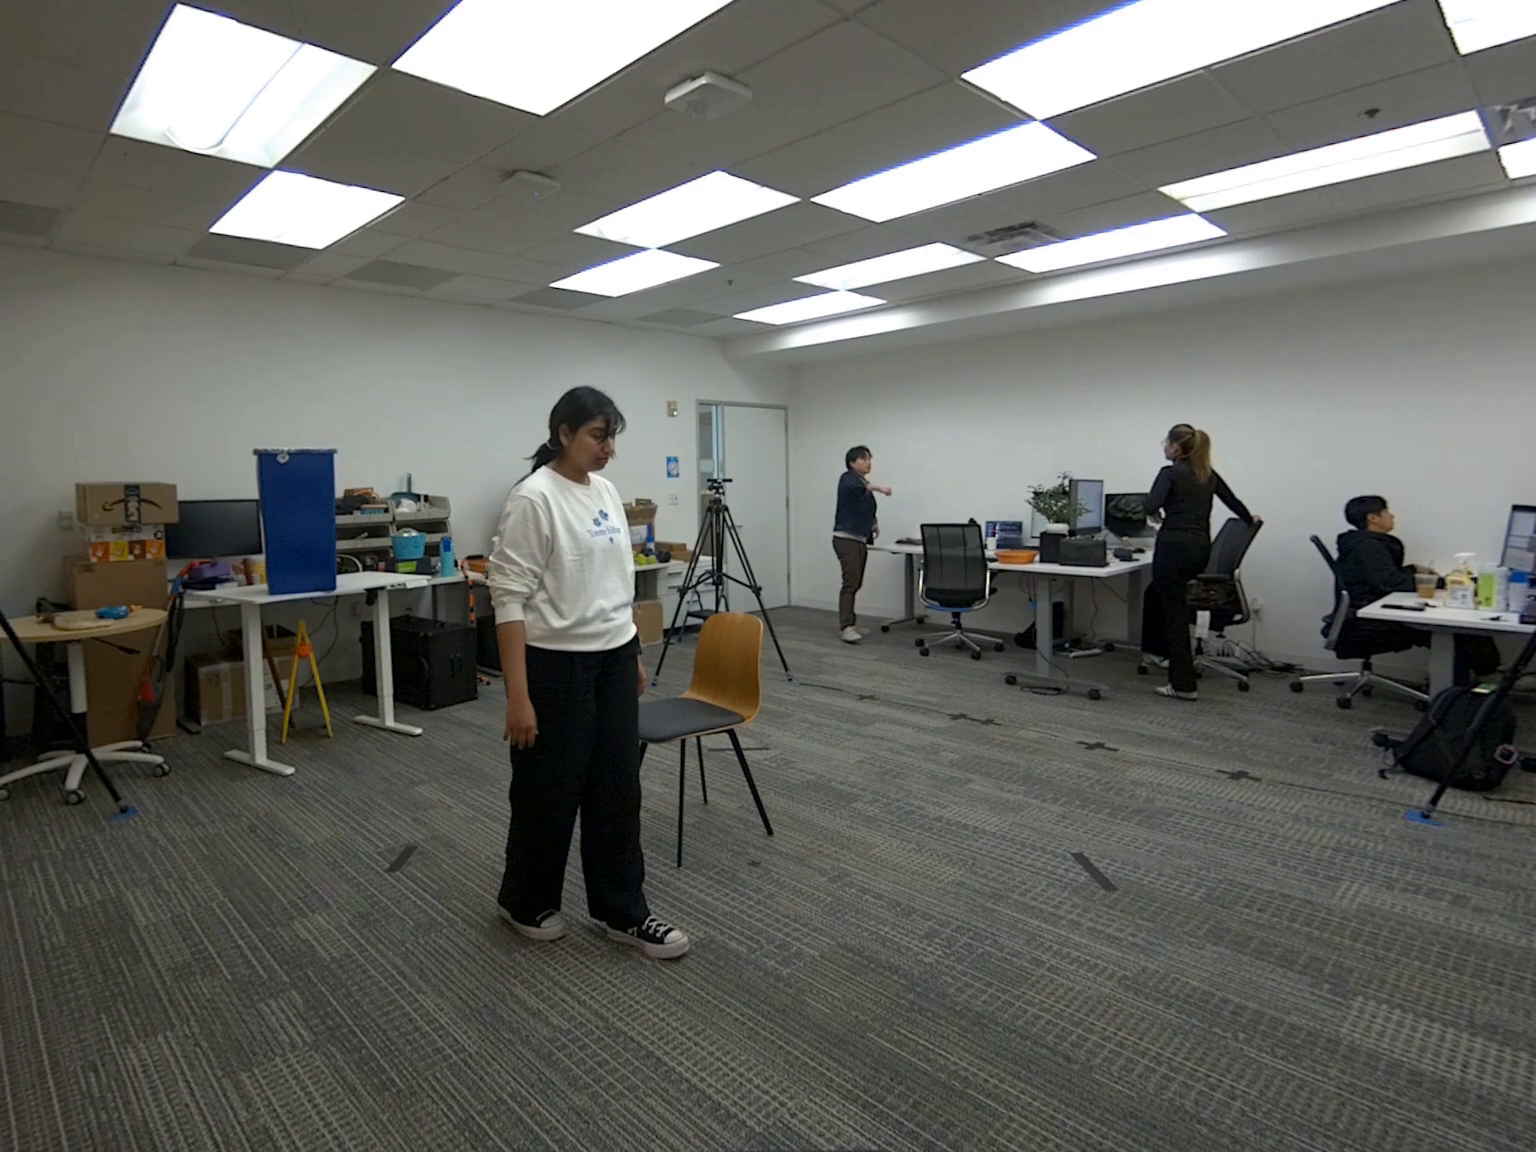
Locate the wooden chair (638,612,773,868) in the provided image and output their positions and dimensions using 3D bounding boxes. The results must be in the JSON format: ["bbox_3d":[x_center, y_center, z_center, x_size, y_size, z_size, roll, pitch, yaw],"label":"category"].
[{"bbox_3d":[-0.306,0.593,3.358,0.508,0.877,0.492,1,2,-39],"label":"wooden chair"}]
